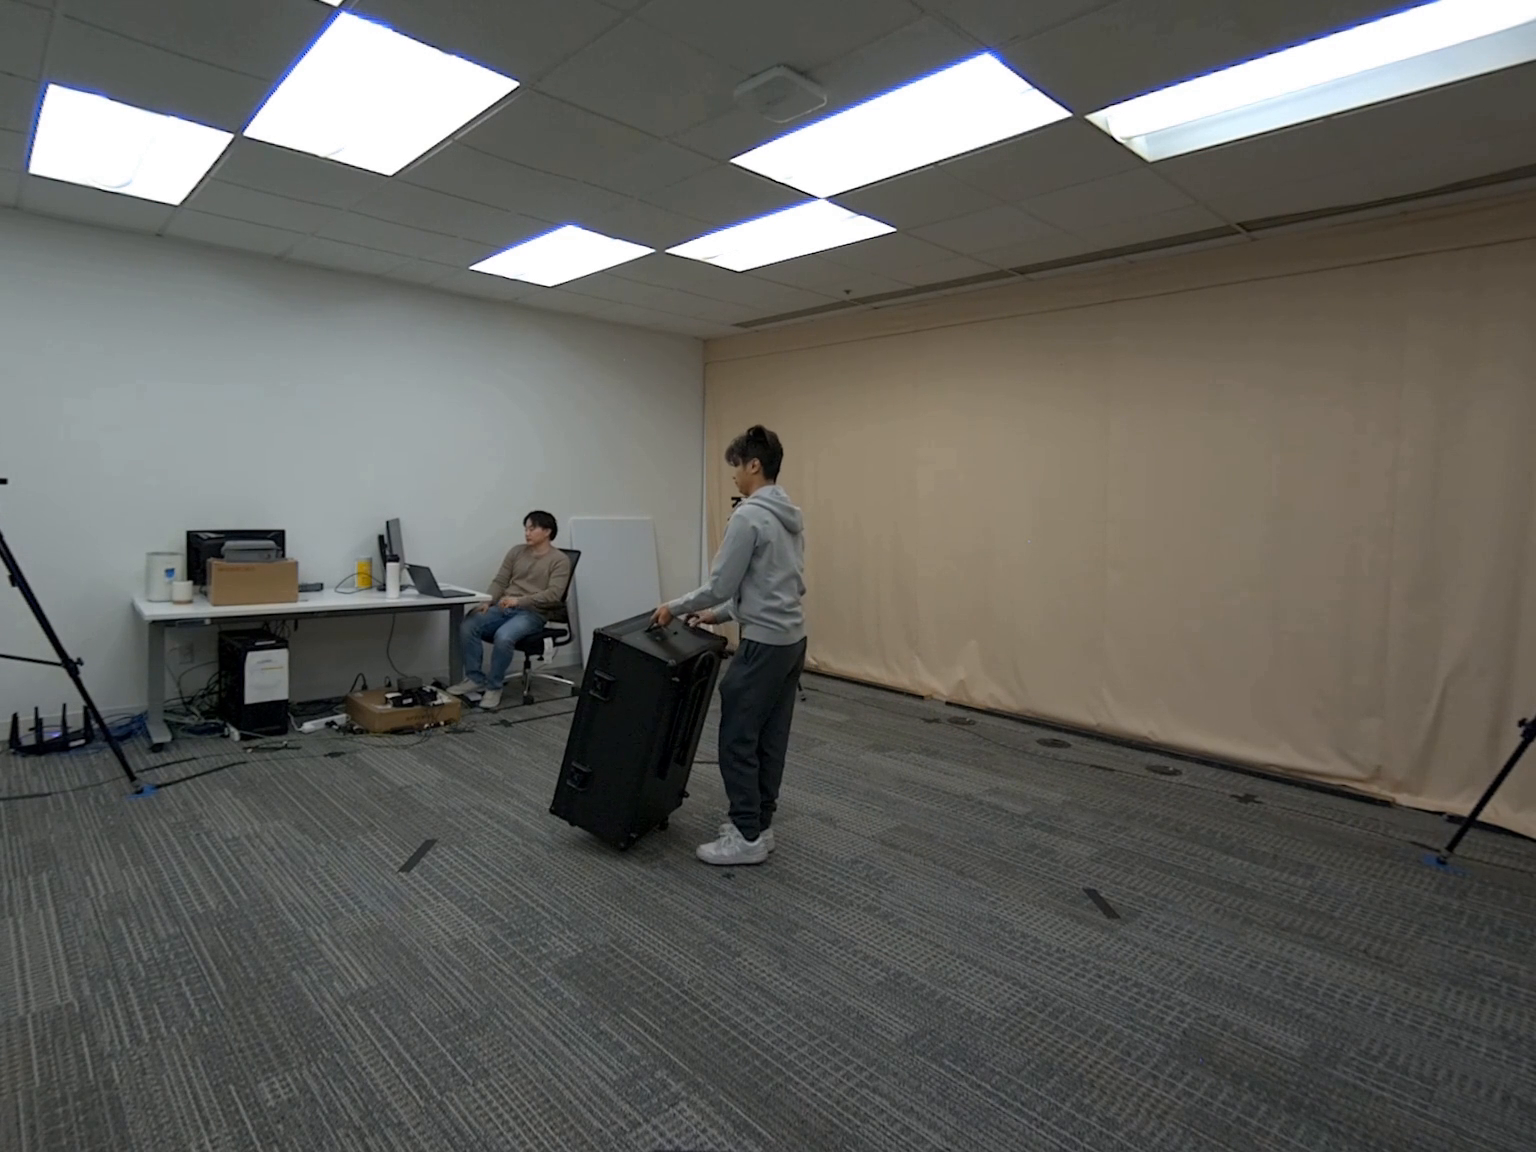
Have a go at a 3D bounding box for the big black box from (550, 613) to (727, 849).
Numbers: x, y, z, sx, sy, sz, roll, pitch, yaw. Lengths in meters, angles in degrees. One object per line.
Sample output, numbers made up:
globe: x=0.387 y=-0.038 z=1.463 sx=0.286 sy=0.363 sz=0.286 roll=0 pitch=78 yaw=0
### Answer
big black box: x=-0.514 y=0.628 z=3.386 sx=0.404 sy=0.856 sz=0.514 roll=21 pitch=13 yaw=20
